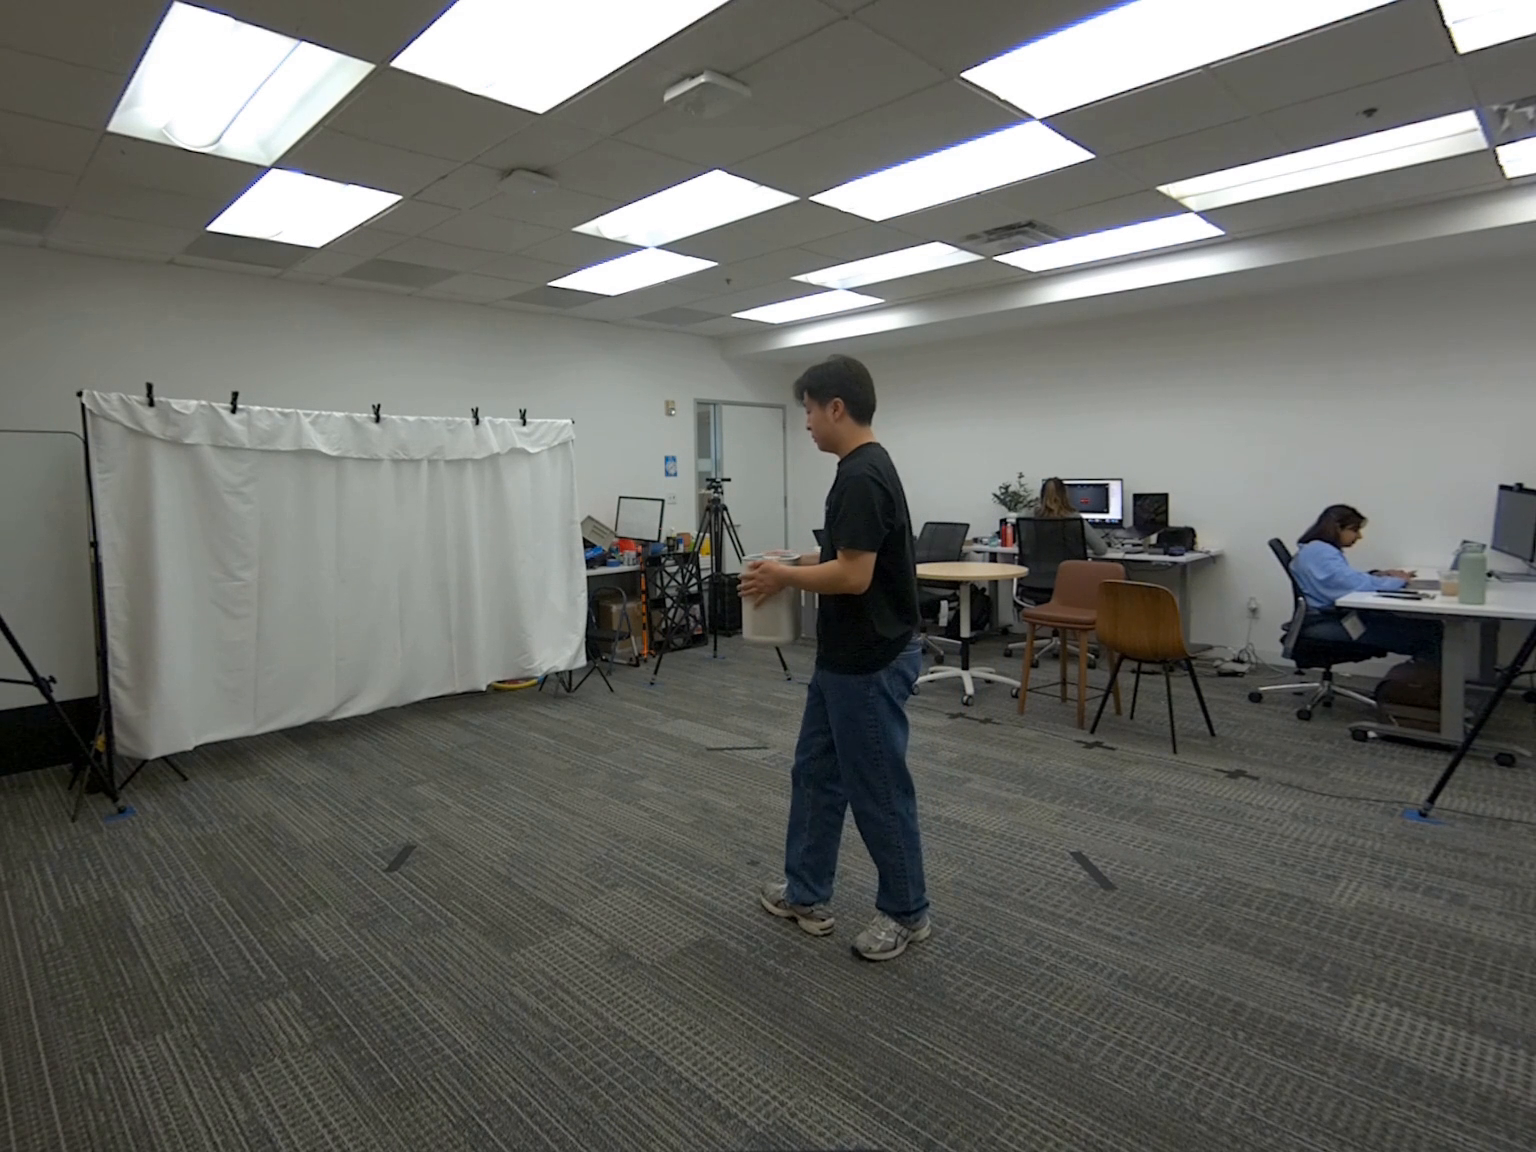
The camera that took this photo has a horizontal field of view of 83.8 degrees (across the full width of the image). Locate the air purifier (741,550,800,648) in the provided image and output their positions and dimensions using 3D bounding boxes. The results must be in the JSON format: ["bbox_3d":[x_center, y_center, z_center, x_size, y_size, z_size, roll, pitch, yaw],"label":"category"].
[{"bbox_3d":[0.005,0.068,2.603,0.174,0.264,0.169,0,7,18],"label":"air purifier"}]
